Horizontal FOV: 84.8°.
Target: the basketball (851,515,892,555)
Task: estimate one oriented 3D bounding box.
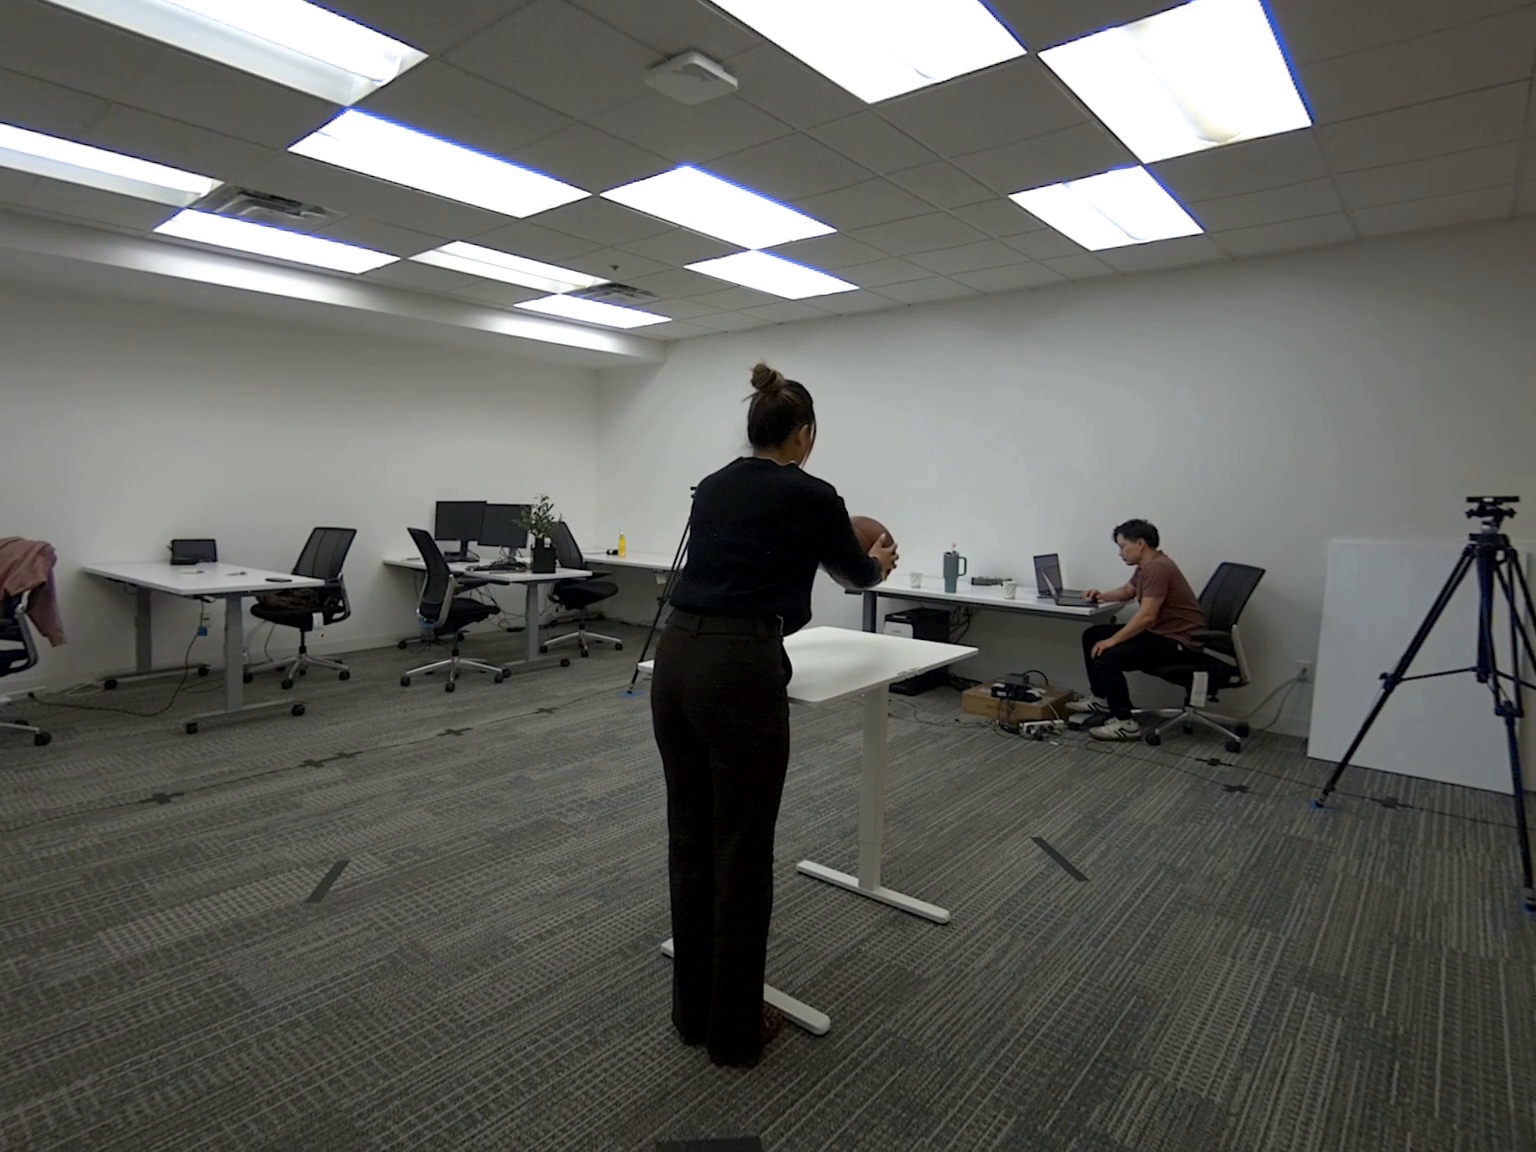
[{"bbox_3d":[0.285,-0.078,2.722,0.235,0.235,0.237,1,4,-2],"label":"basketball"}]
